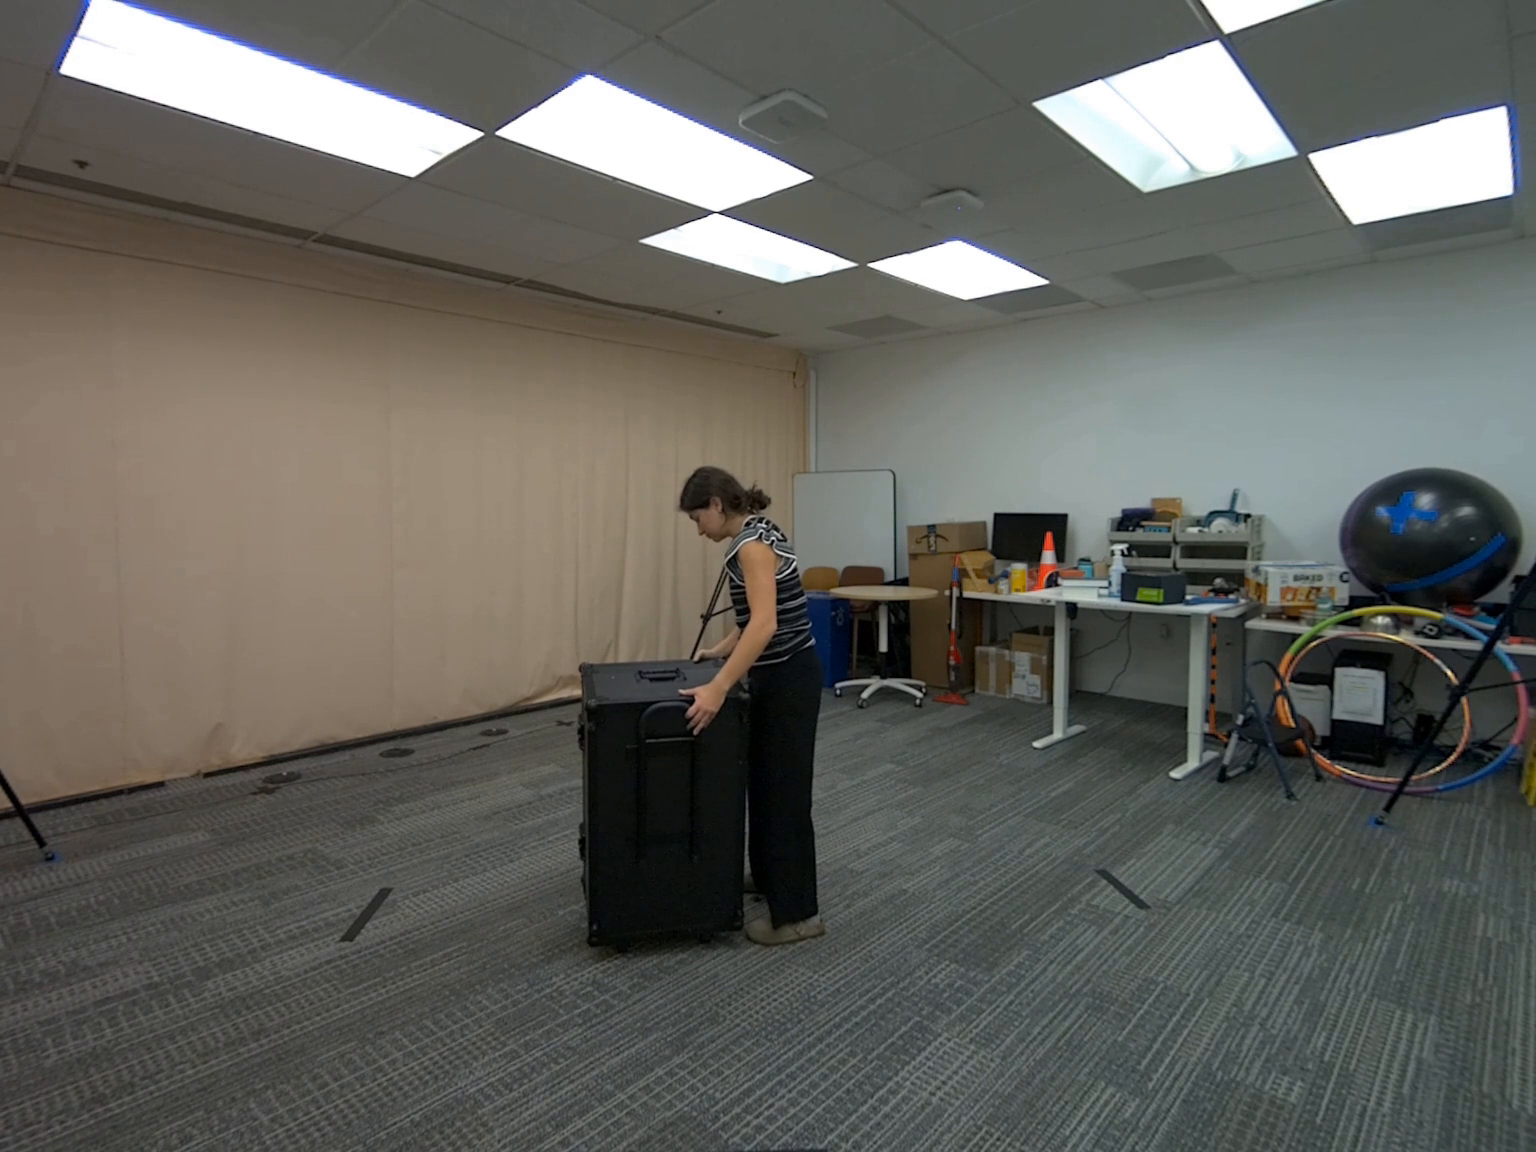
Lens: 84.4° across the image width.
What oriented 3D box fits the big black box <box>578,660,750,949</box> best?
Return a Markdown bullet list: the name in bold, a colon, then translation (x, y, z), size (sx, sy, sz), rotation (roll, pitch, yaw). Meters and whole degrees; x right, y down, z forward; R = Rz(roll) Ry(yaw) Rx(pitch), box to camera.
- **big black box**: translation (-0.344, 0.742, 2.675), size (0.515, 0.855, 0.404), rotation (-1, 13, -11)
